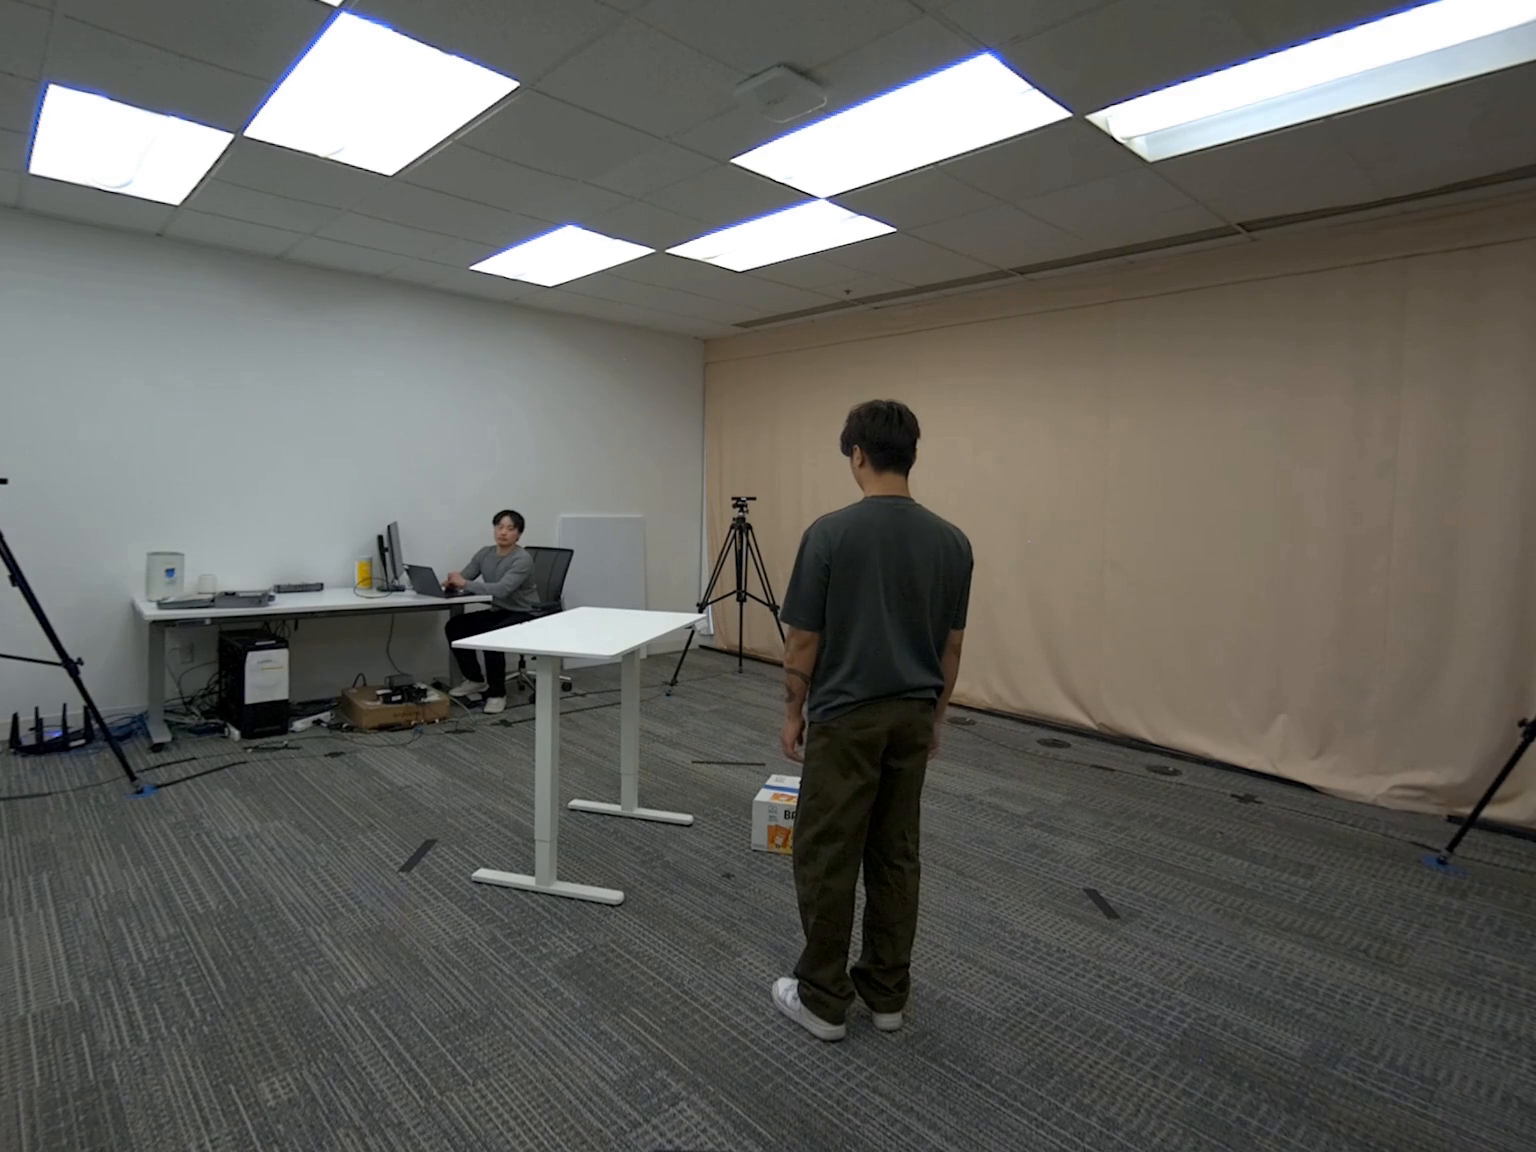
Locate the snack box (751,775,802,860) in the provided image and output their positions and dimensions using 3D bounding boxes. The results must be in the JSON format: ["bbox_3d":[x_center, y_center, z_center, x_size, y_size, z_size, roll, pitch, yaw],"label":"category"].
[{"bbox_3d":[0.169,0.985,3.441,0.410,0.205,0.337,2,4,14],"label":"snack box"}]
